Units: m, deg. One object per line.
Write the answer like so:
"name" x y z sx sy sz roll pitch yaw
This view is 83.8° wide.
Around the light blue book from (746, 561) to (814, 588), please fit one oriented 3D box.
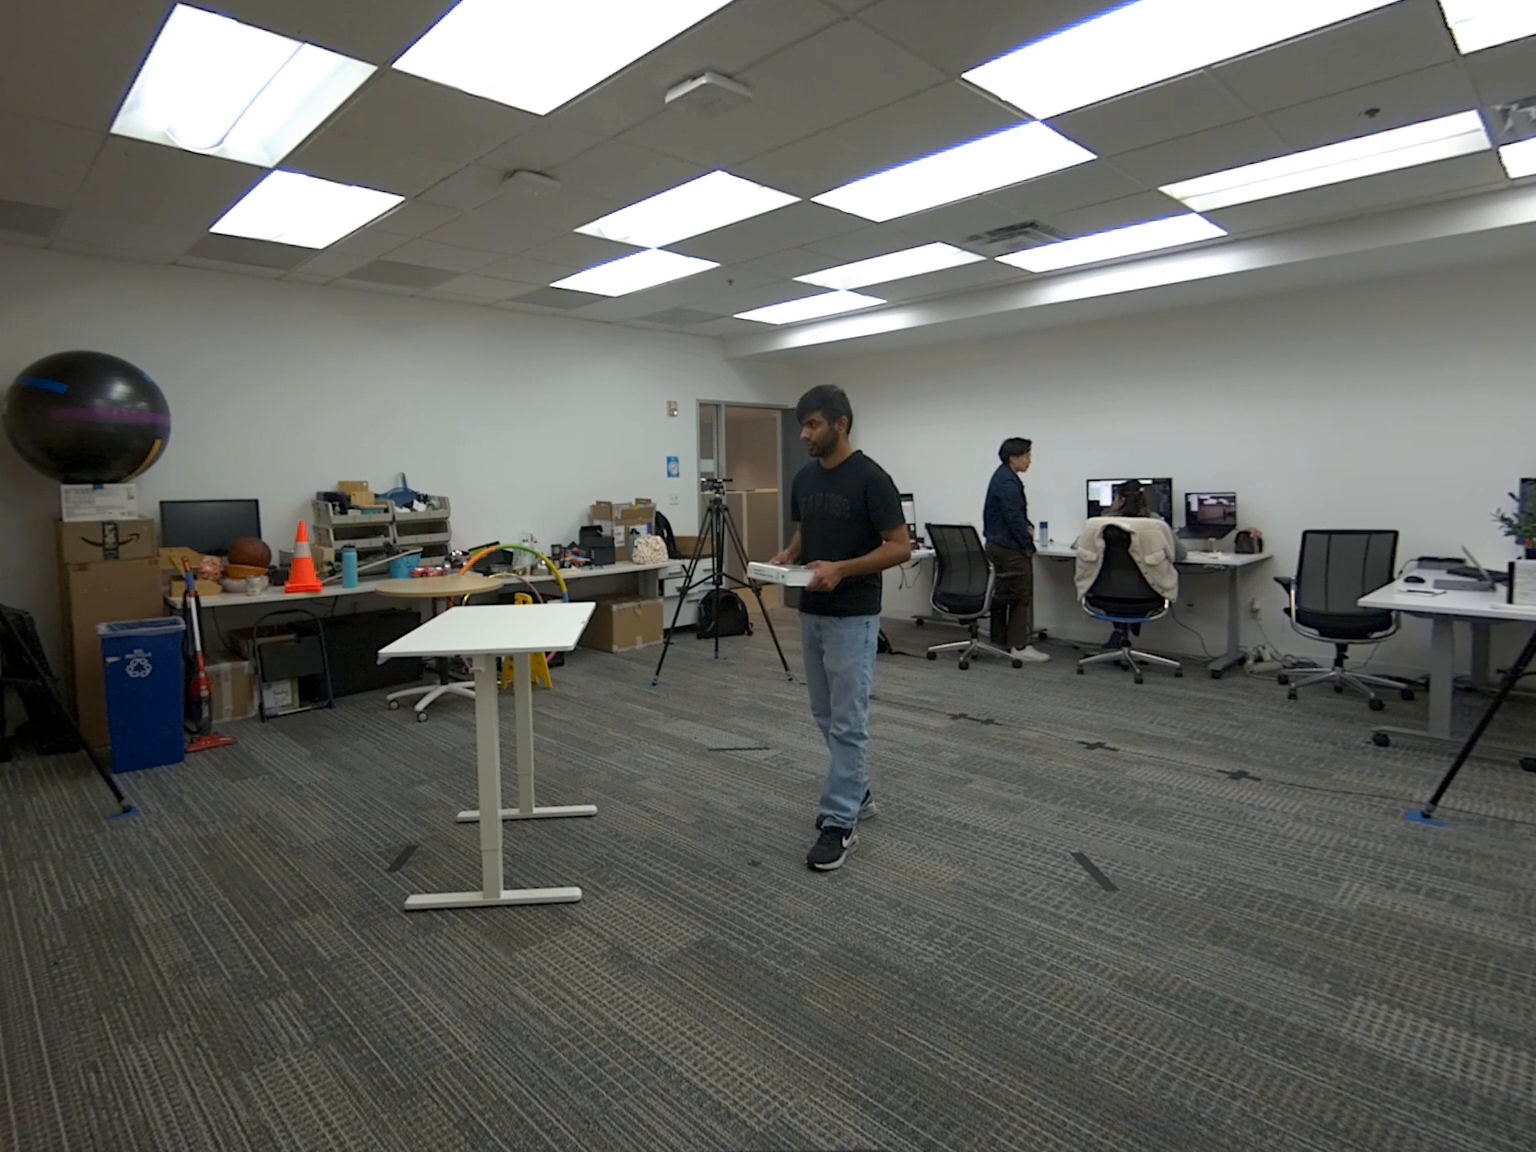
"light blue book" 0.082 -0.005 3.108 0.188 0.059 0.266 3 4 -18
